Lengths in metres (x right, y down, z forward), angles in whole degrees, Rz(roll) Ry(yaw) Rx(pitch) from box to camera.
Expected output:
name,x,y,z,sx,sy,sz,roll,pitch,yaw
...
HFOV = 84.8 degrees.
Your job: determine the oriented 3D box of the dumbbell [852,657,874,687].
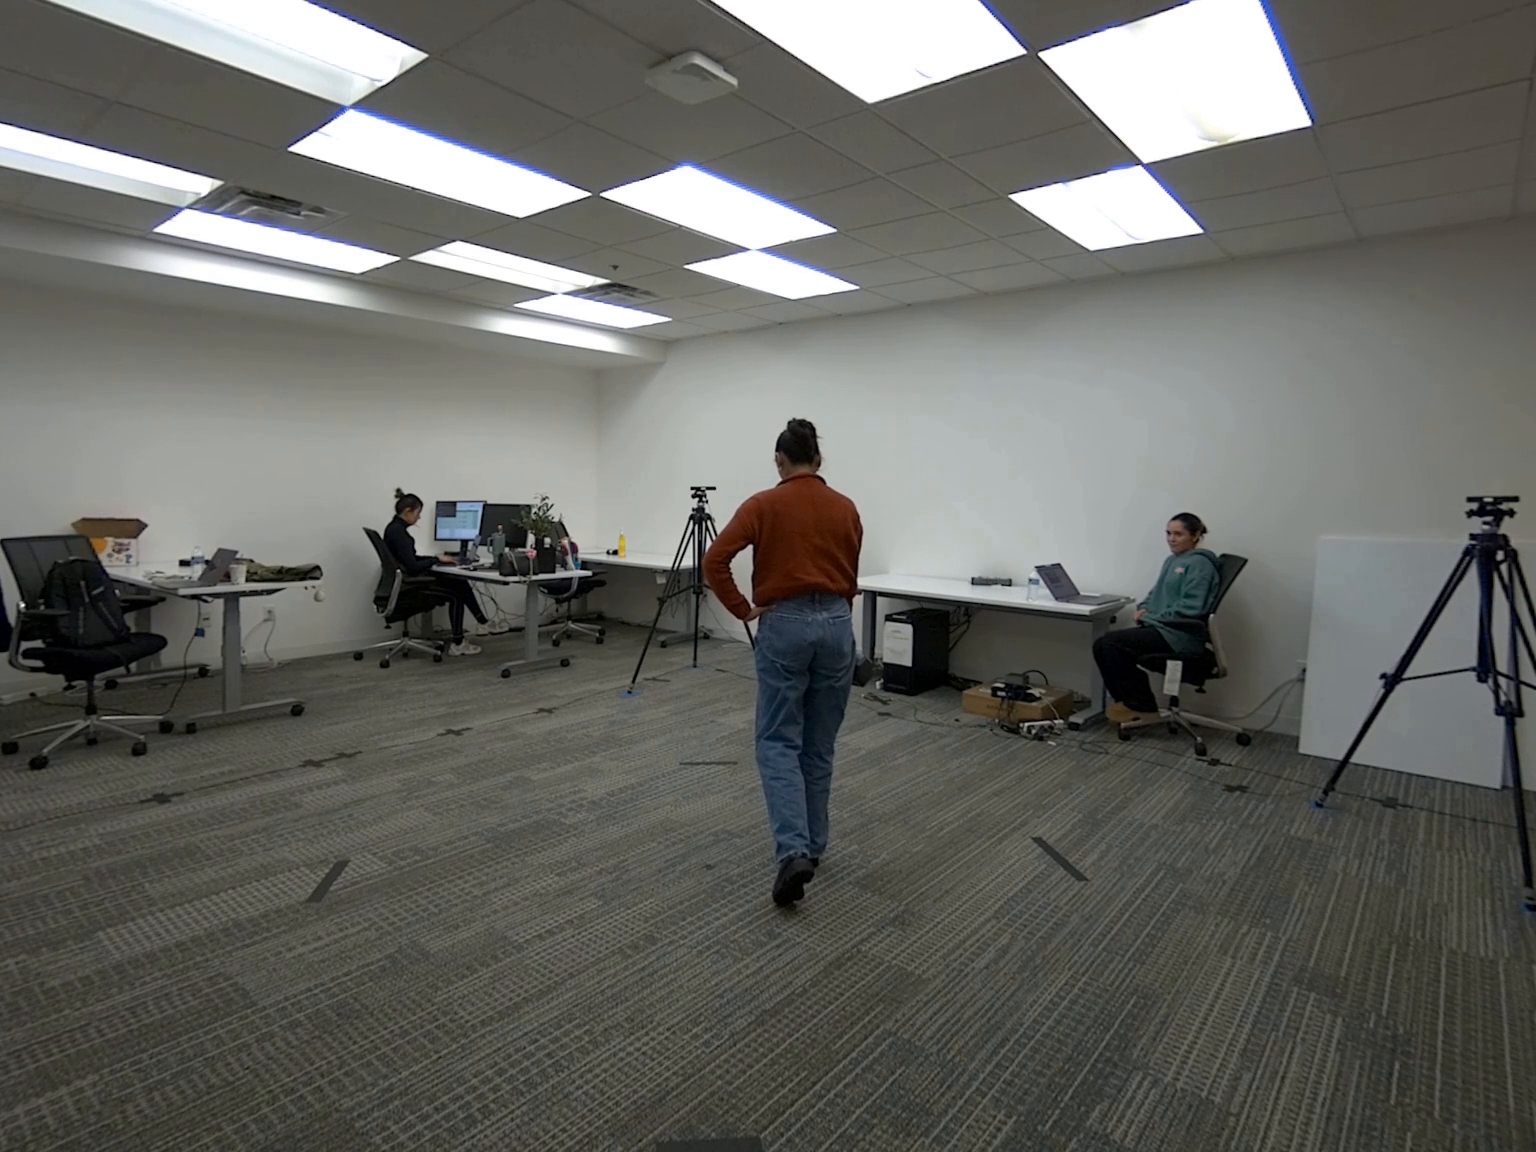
name,x,y,z,sx,sy,sz,roll,pitch,yaw
dumbbell,0.245,0.346,3.279,0.304,0.122,0.105,7,7,43
